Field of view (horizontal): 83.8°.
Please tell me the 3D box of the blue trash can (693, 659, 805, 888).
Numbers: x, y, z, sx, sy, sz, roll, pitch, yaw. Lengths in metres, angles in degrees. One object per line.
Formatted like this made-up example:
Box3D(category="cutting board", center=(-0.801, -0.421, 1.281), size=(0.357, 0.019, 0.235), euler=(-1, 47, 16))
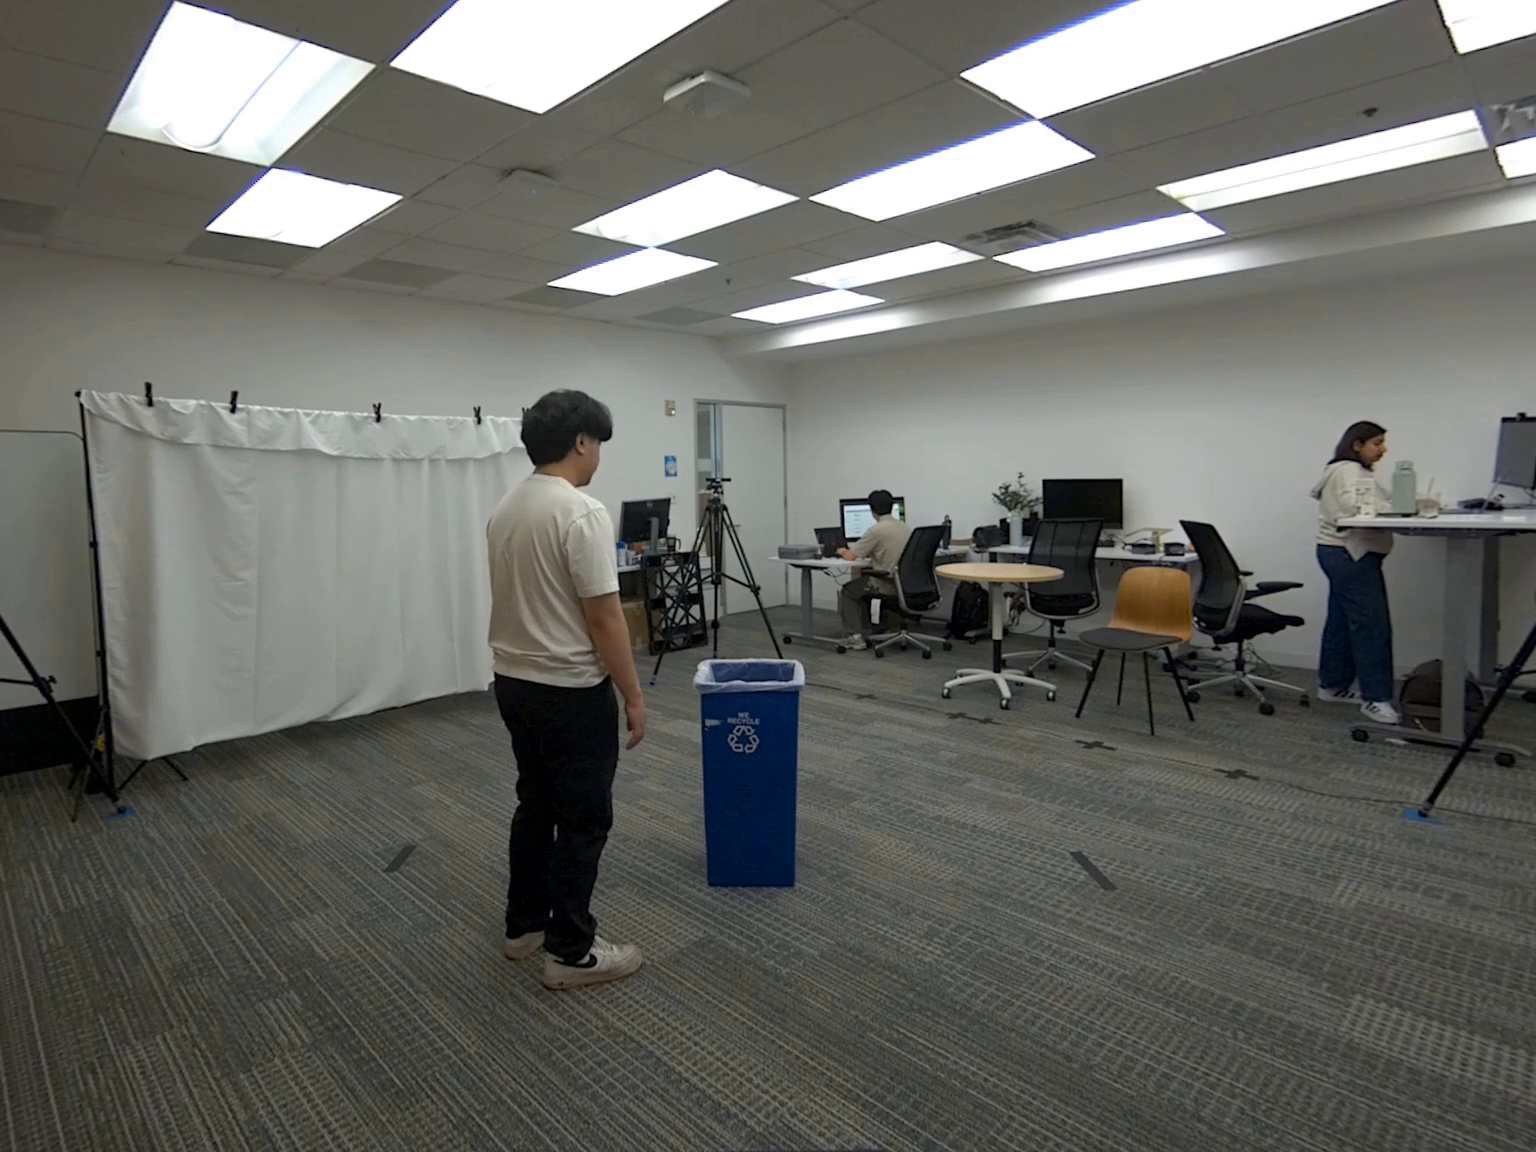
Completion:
Box3D(category="blue trash can", center=(-0.053, 0.692, 3.050), size=(0.375, 0.711, 0.378), euler=(-1, 4, 2))
